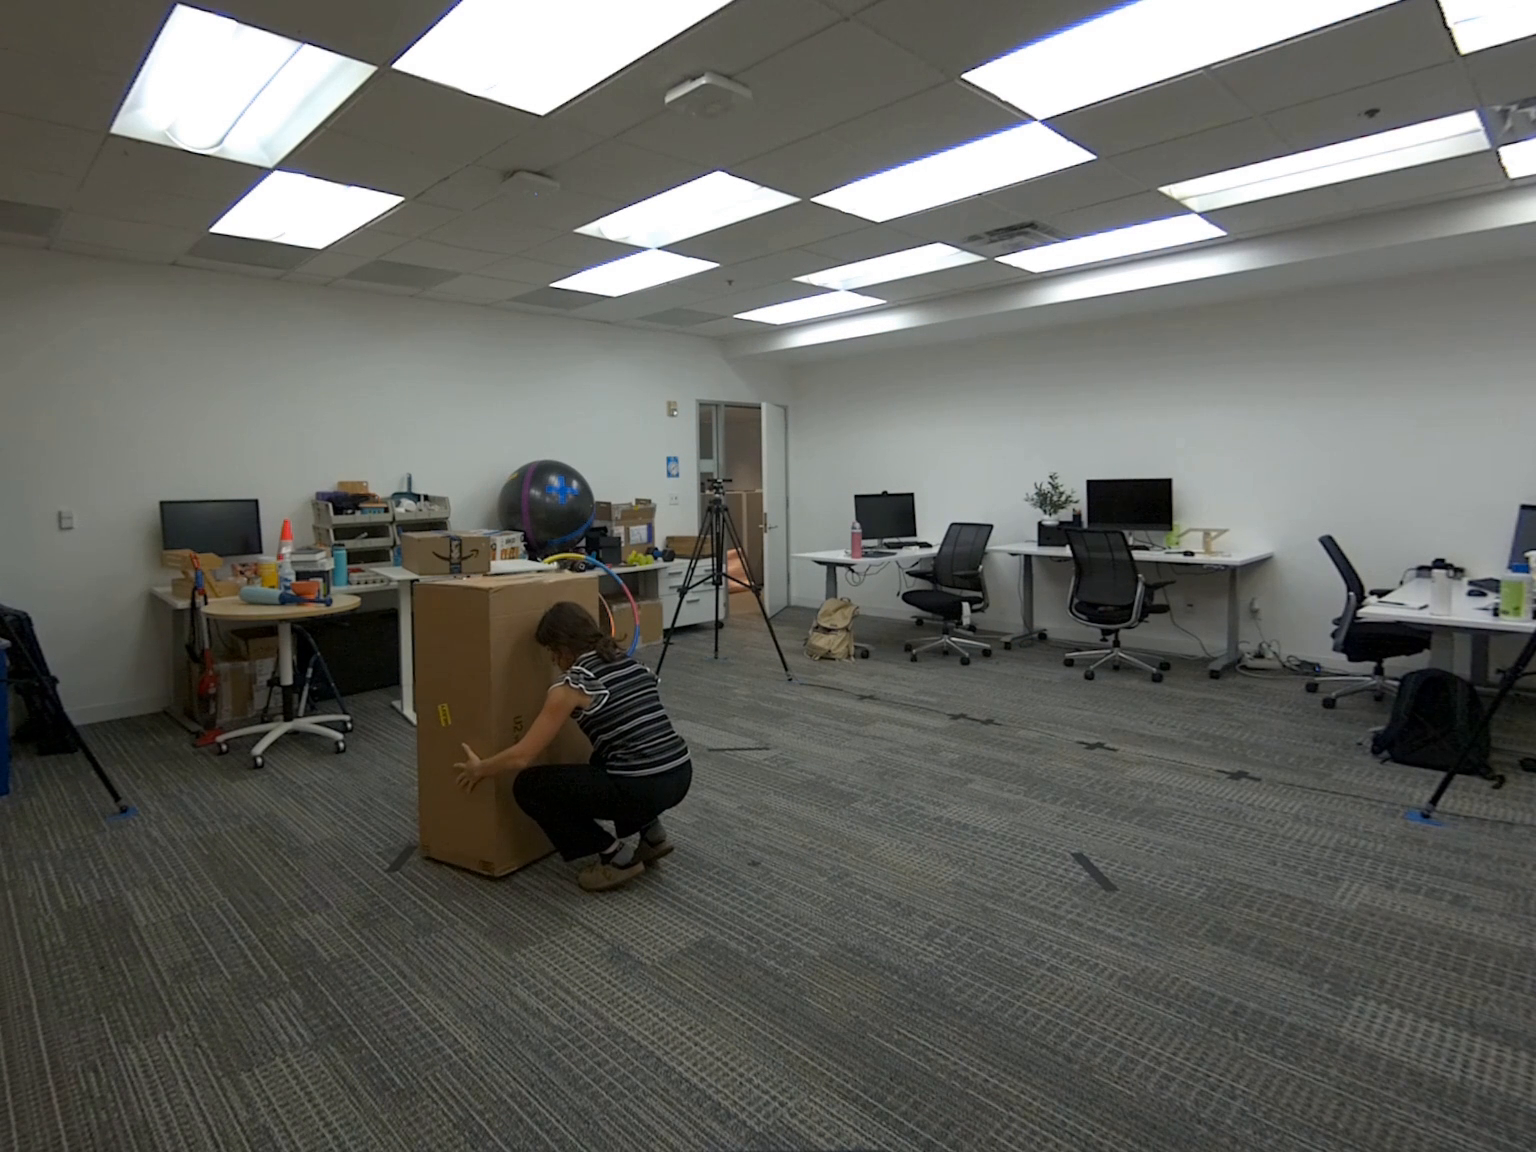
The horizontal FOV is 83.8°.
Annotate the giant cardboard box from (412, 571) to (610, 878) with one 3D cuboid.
[{"bbox_3d":[-0.991,0.519,3.321,0.437,1.024,0.564,1,3,31],"label":"giant cardboard box"}]
